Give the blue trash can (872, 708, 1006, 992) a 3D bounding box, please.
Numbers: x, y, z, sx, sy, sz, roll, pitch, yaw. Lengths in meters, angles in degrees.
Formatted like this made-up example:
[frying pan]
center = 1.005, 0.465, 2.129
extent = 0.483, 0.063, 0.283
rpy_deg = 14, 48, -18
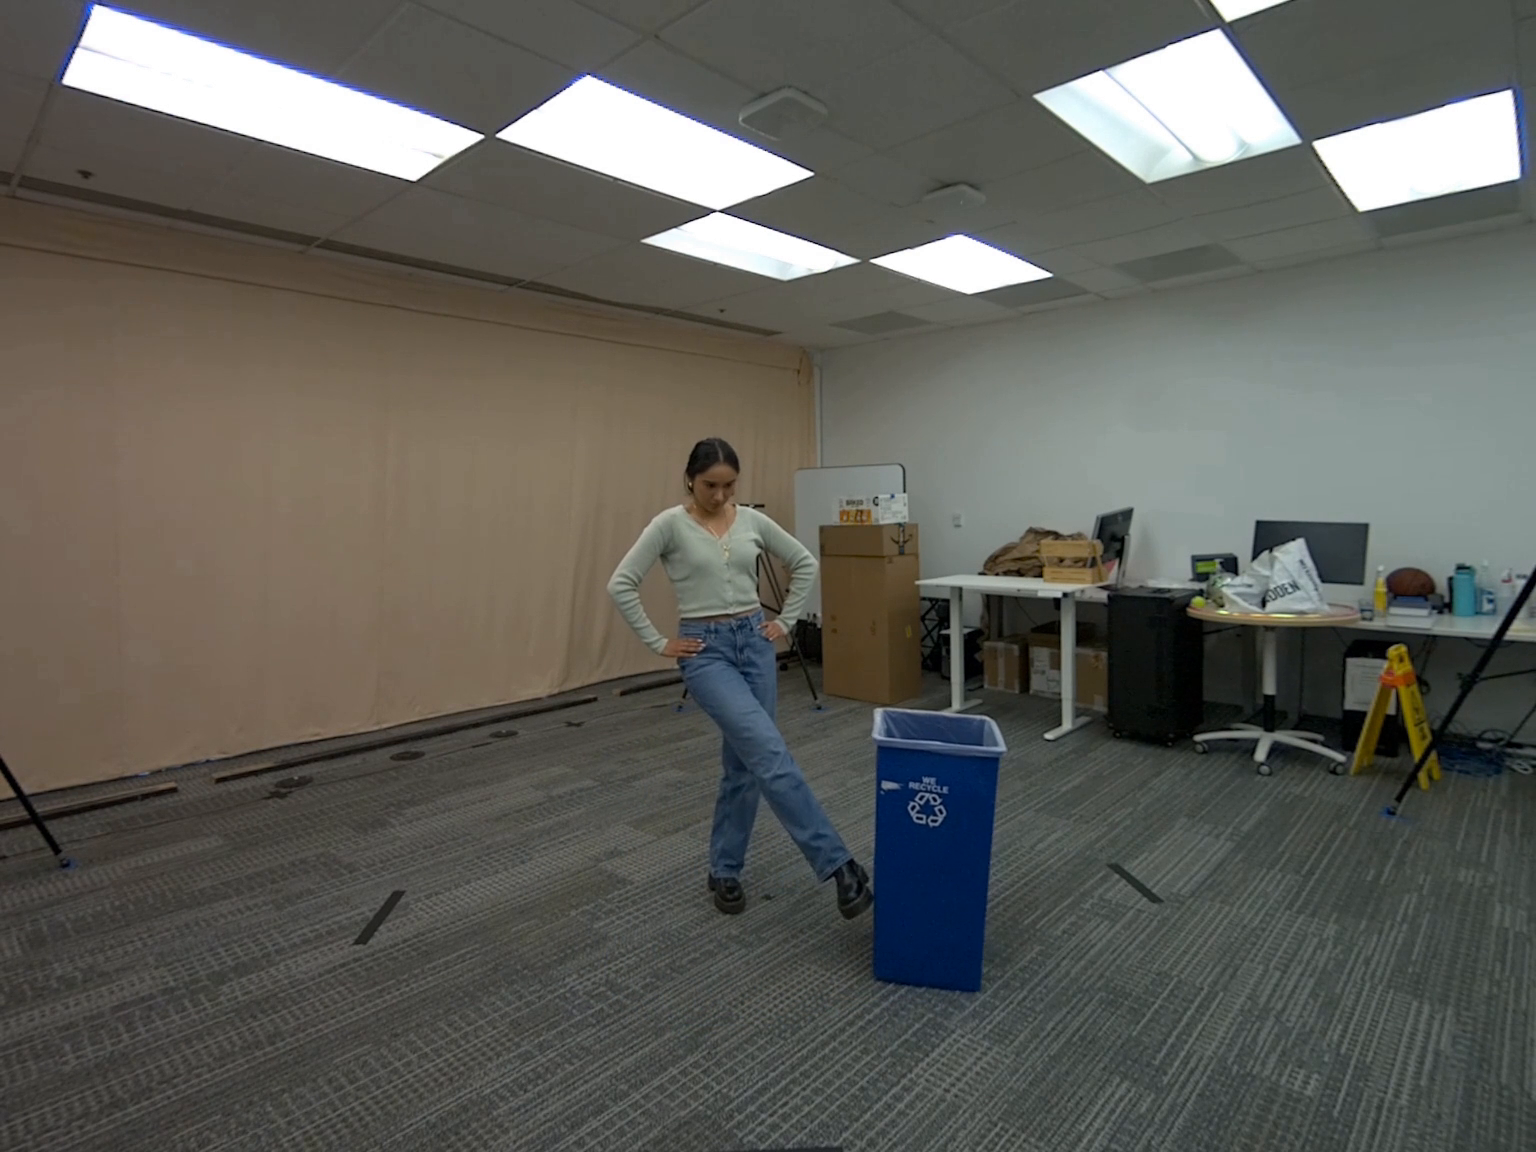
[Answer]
[blue trash can]
center = 0.499, 0.810, 2.523
extent = 0.382, 0.712, 0.371
rpy_deg = 2, 3, 9
